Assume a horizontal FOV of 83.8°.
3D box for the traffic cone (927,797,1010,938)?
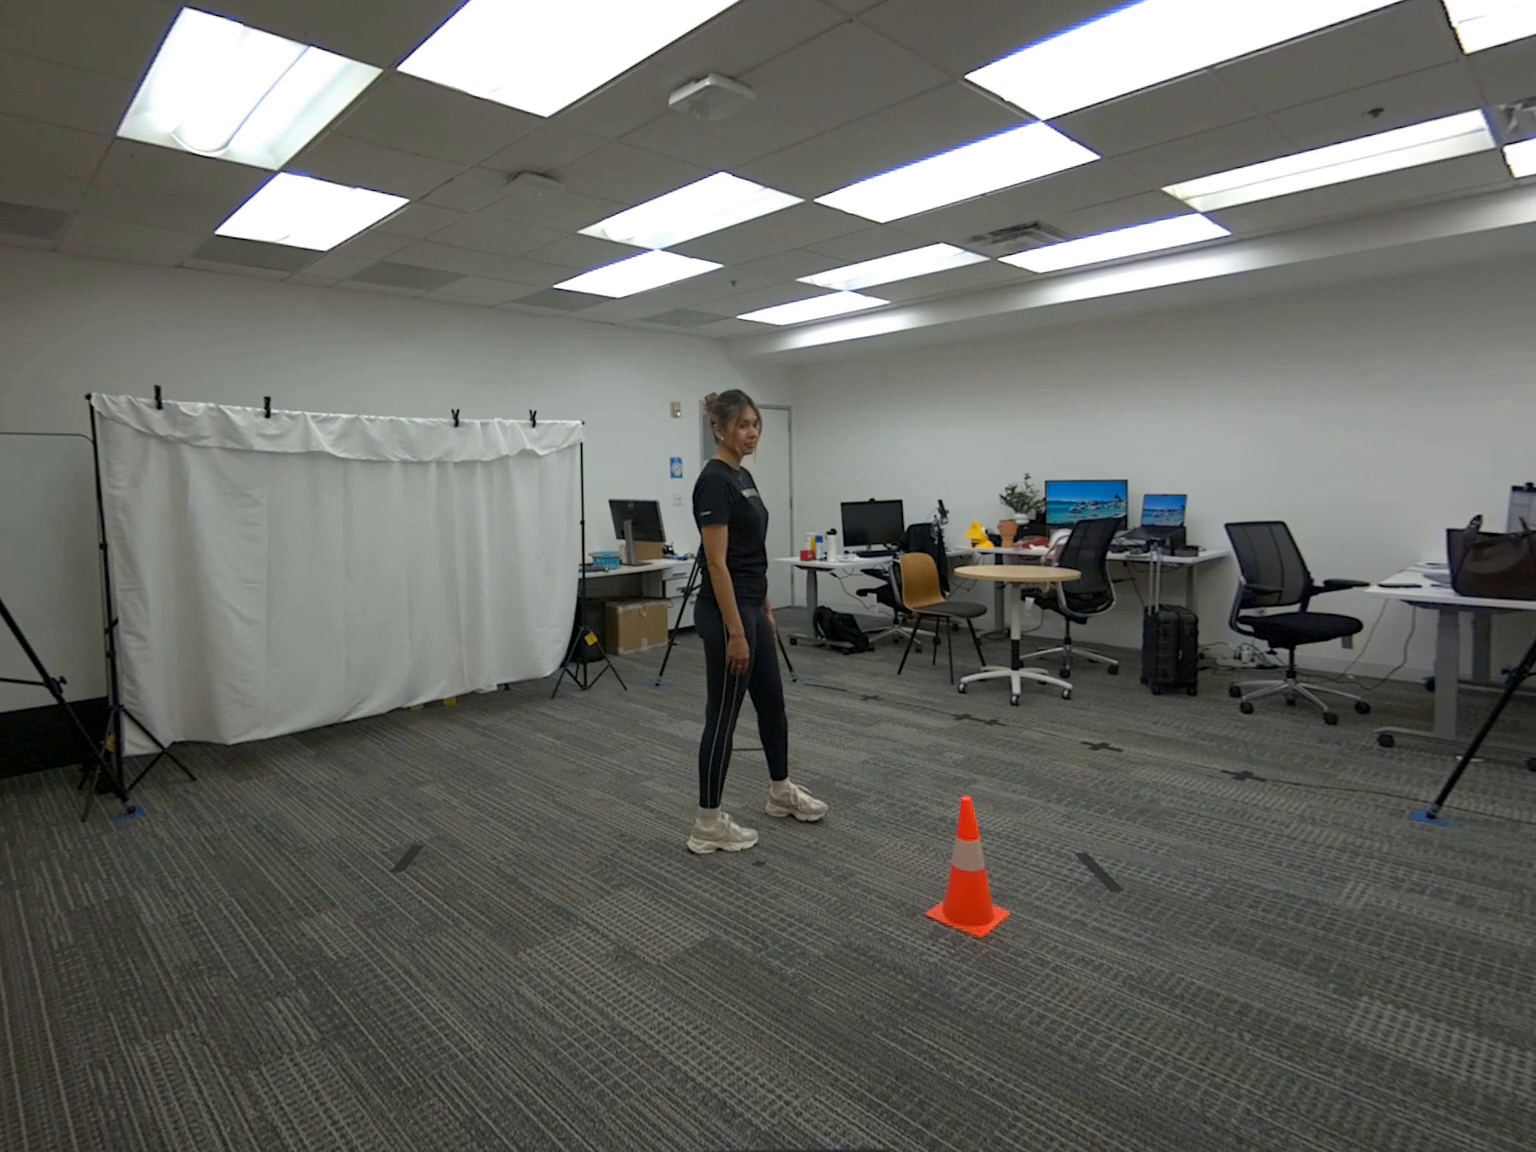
[{"bbox_3d":[0.640,0.894,2.712,0.198,0.383,0.211,-4,4,-43],"label":"traffic cone"}]
